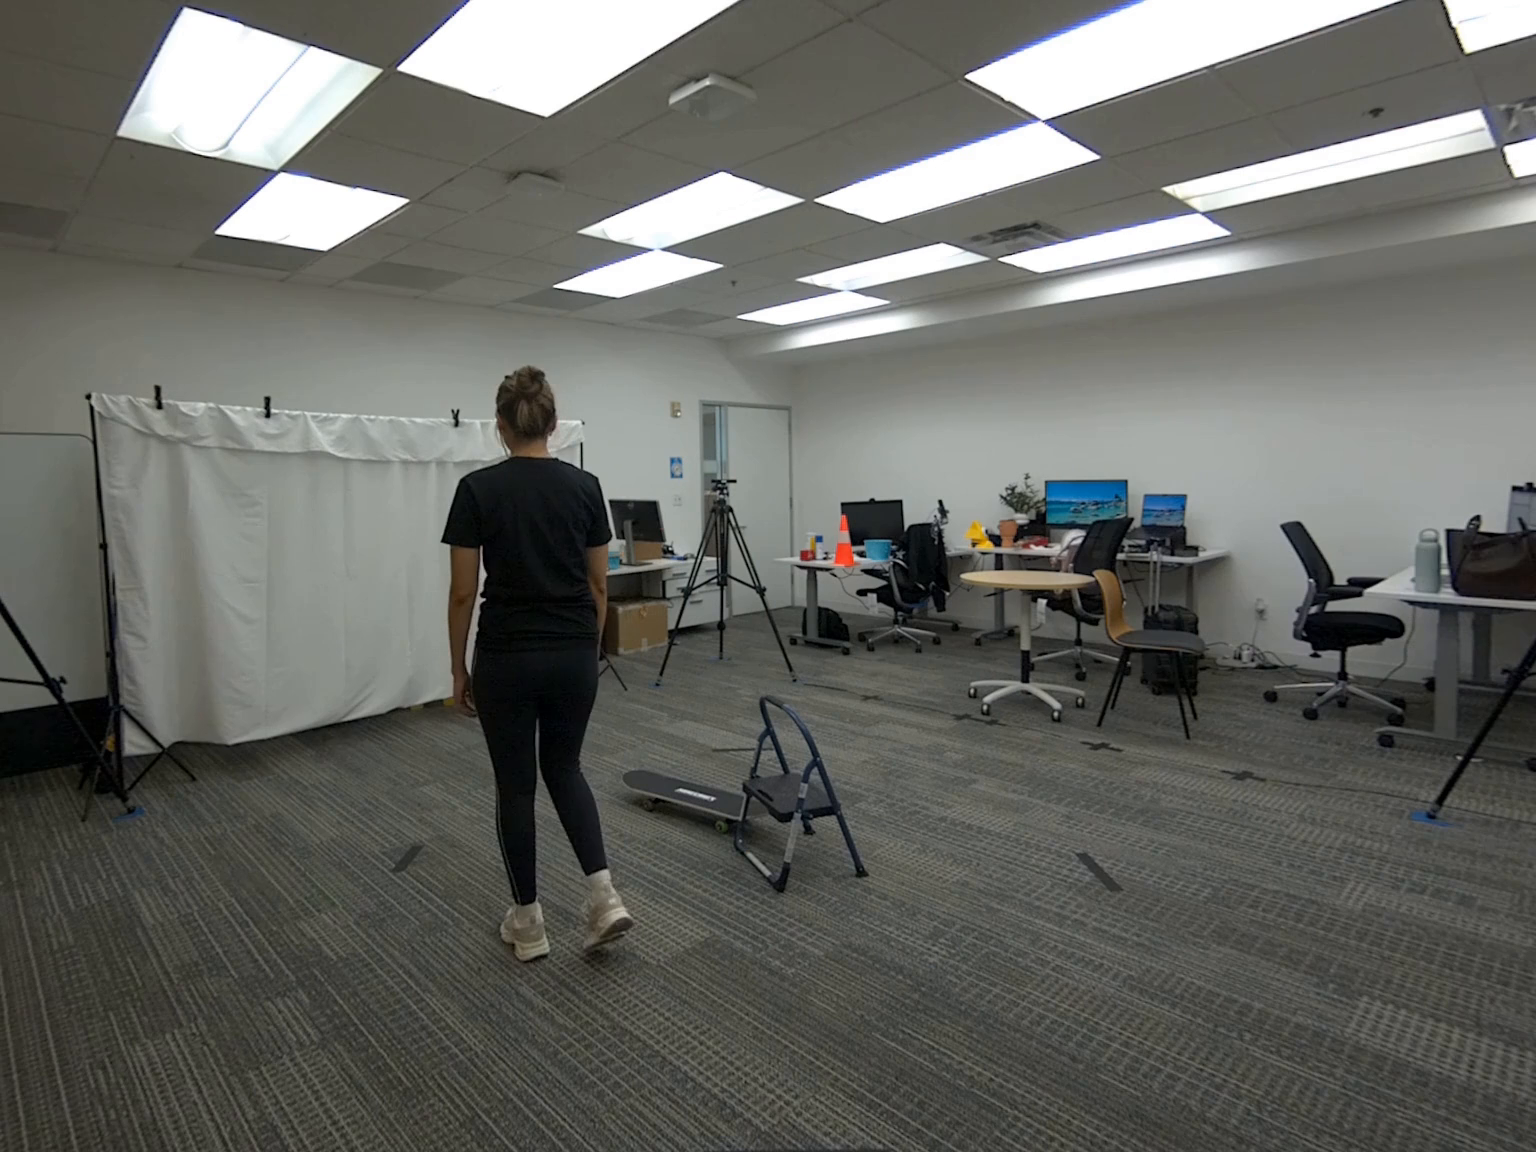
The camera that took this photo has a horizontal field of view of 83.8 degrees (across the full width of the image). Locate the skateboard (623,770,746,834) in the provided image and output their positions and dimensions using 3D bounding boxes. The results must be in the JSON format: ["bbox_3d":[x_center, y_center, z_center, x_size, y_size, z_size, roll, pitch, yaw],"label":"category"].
[{"bbox_3d":[-0.299,0.946,3.570,0.809,0.110,0.189,4,8,37],"label":"skateboard"}]
